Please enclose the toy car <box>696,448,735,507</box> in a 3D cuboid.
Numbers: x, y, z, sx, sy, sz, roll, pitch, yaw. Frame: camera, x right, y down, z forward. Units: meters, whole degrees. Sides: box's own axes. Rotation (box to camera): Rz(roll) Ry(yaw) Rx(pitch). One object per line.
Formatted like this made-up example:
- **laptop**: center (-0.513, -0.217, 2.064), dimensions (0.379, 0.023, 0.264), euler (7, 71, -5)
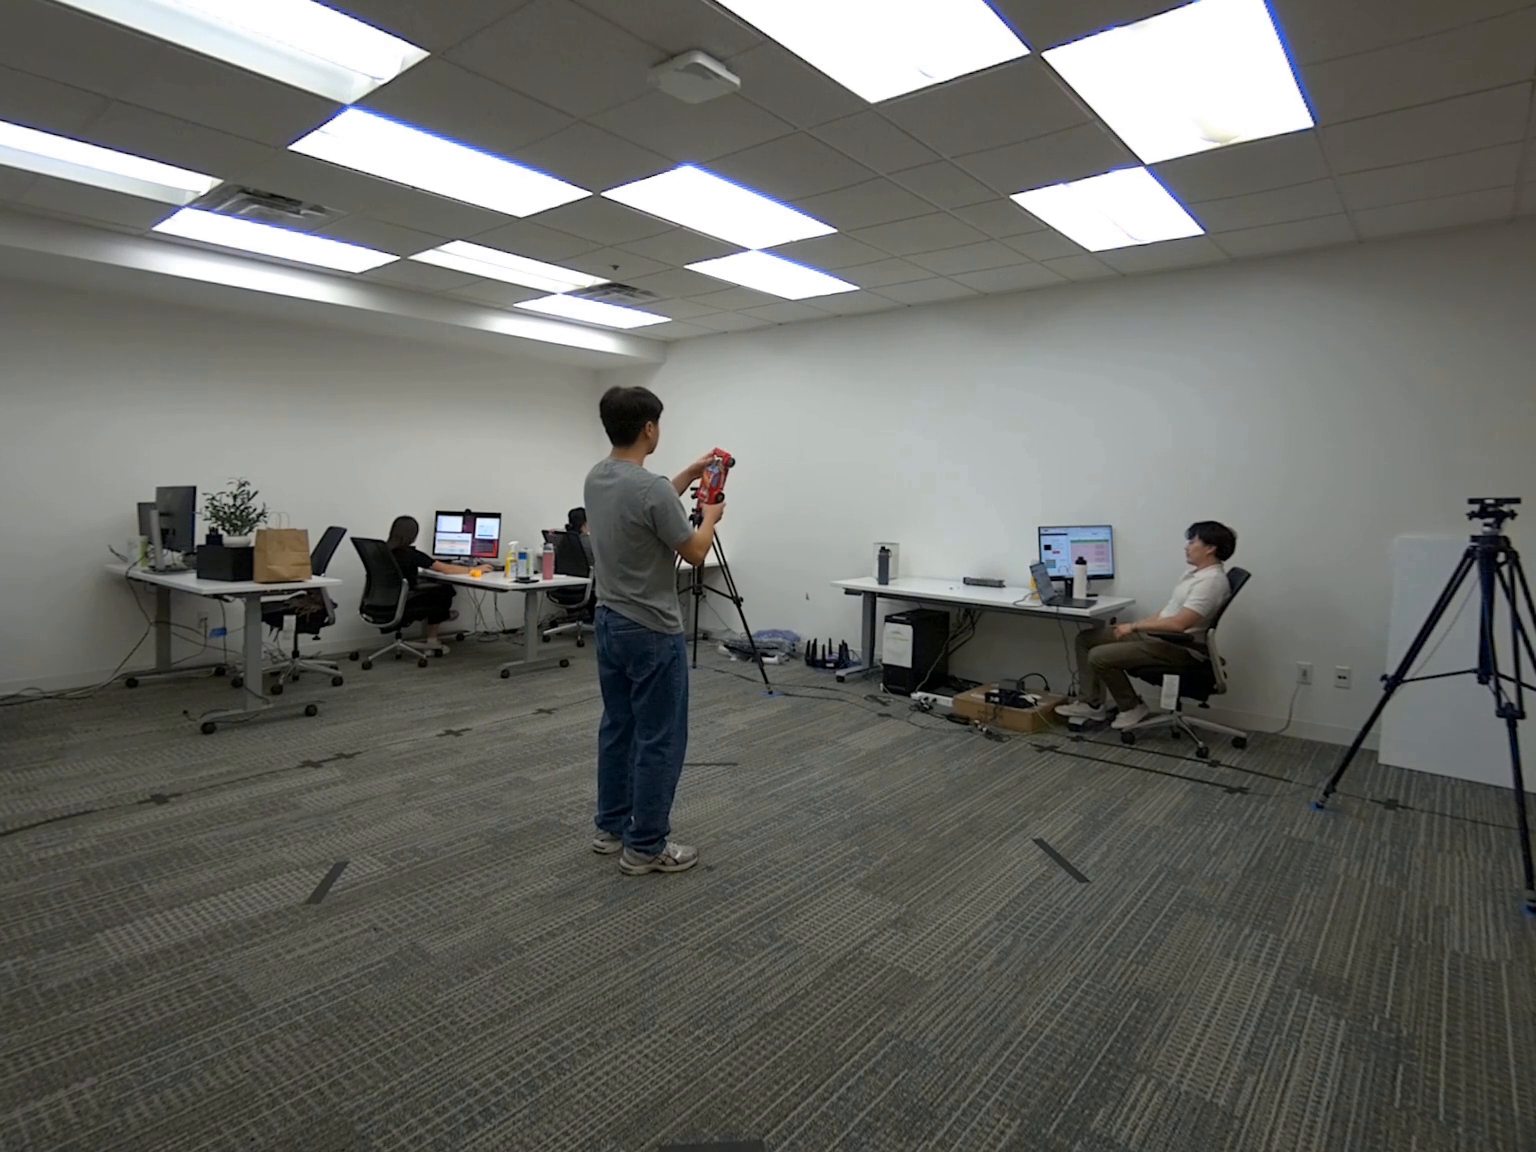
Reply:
- **toy car**: center (-0.227, -0.374, 3.340), dimensions (0.080, 0.254, 0.136), euler (22, 6, -44)
